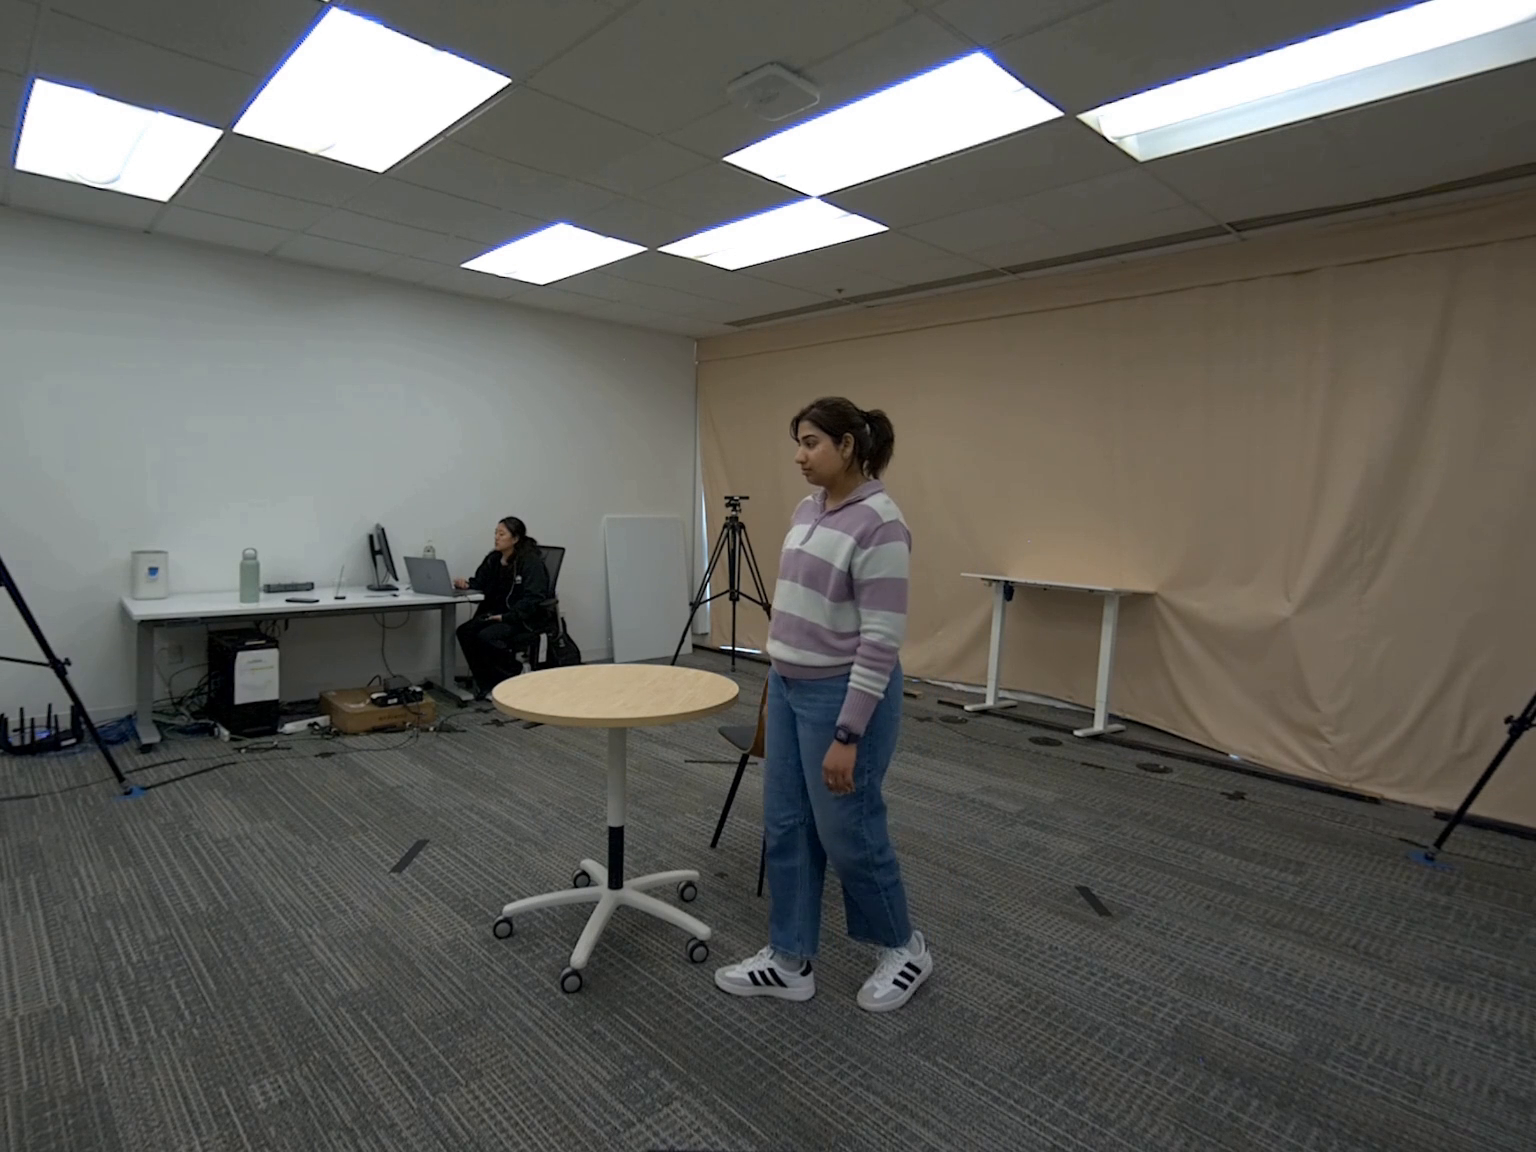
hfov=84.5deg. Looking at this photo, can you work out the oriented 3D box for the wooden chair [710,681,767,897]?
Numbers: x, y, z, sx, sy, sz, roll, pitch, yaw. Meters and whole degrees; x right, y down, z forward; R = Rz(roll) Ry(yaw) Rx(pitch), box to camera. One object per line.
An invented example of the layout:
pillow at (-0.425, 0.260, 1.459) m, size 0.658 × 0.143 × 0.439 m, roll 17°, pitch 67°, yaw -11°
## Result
wooden chair at (0.076, 0.674, 3.206) m, size 0.470 × 0.873 × 0.535 m, roll 0°, pitch 8°, yaw -25°
